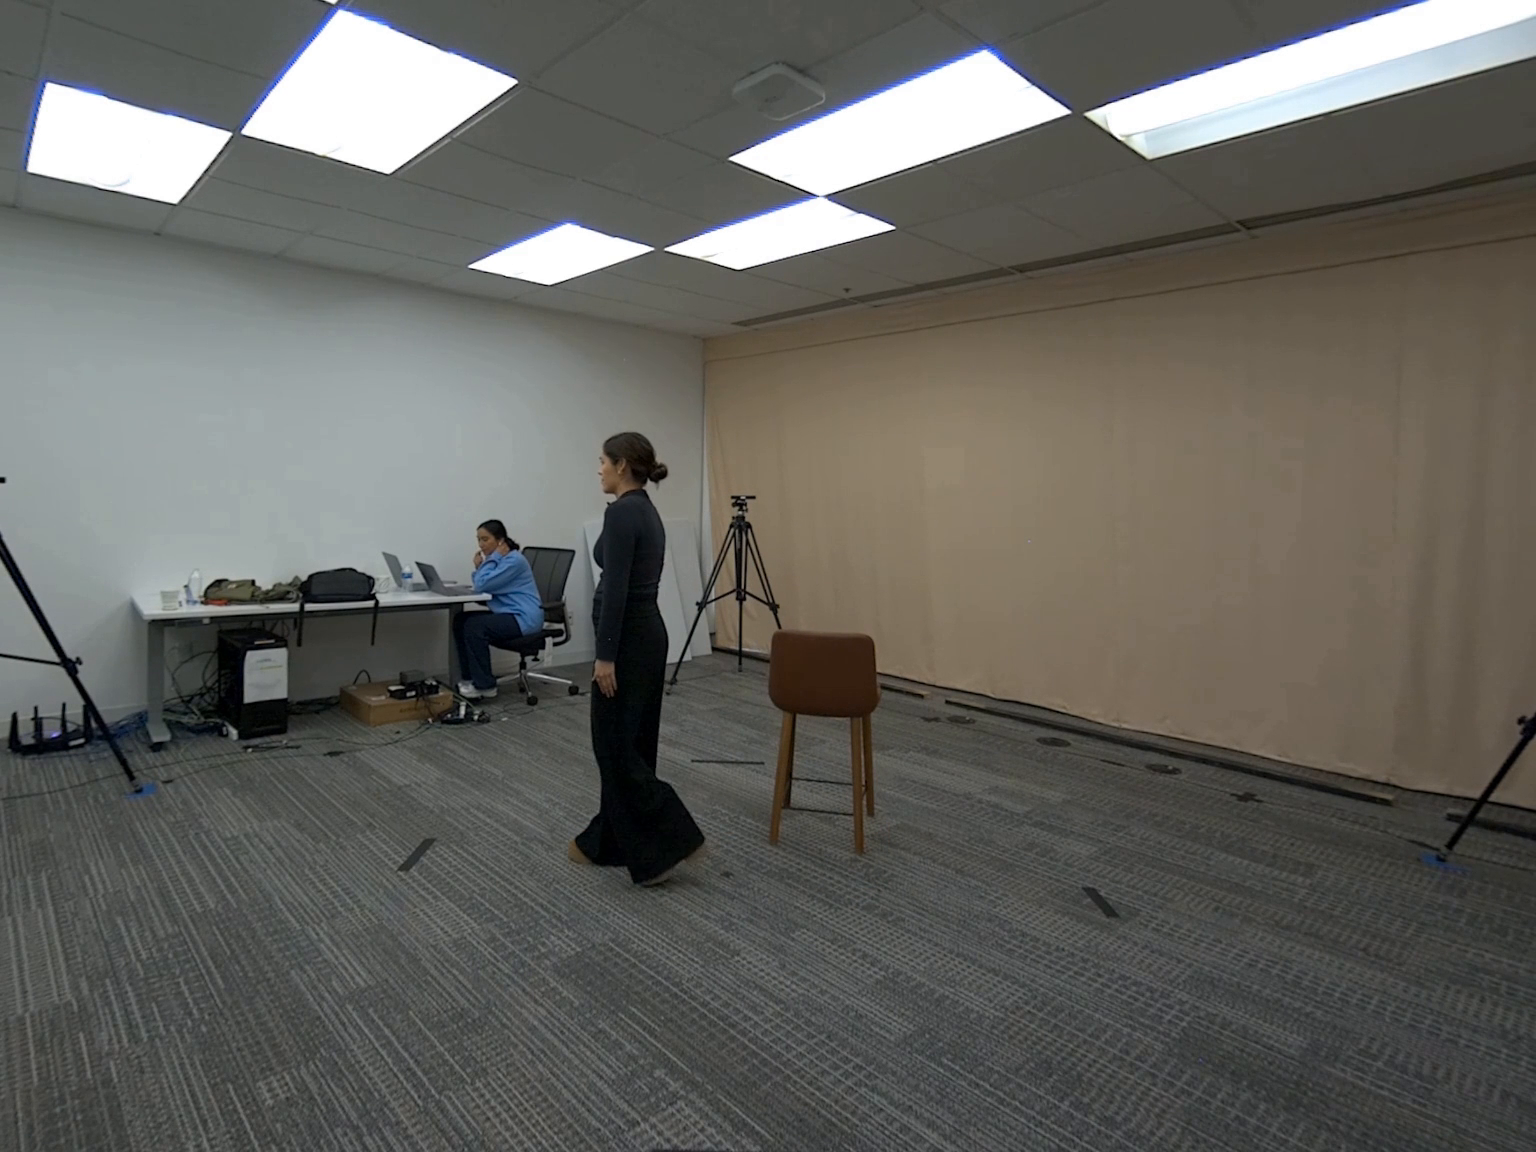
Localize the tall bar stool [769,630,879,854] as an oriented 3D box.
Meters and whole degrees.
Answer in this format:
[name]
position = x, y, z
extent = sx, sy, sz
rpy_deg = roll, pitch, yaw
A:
[tall bar stool]
position = 0.233, 0.639, 3.543
extent = 0.462, 0.887, 0.464
rpy_deg = 2, 4, 13
